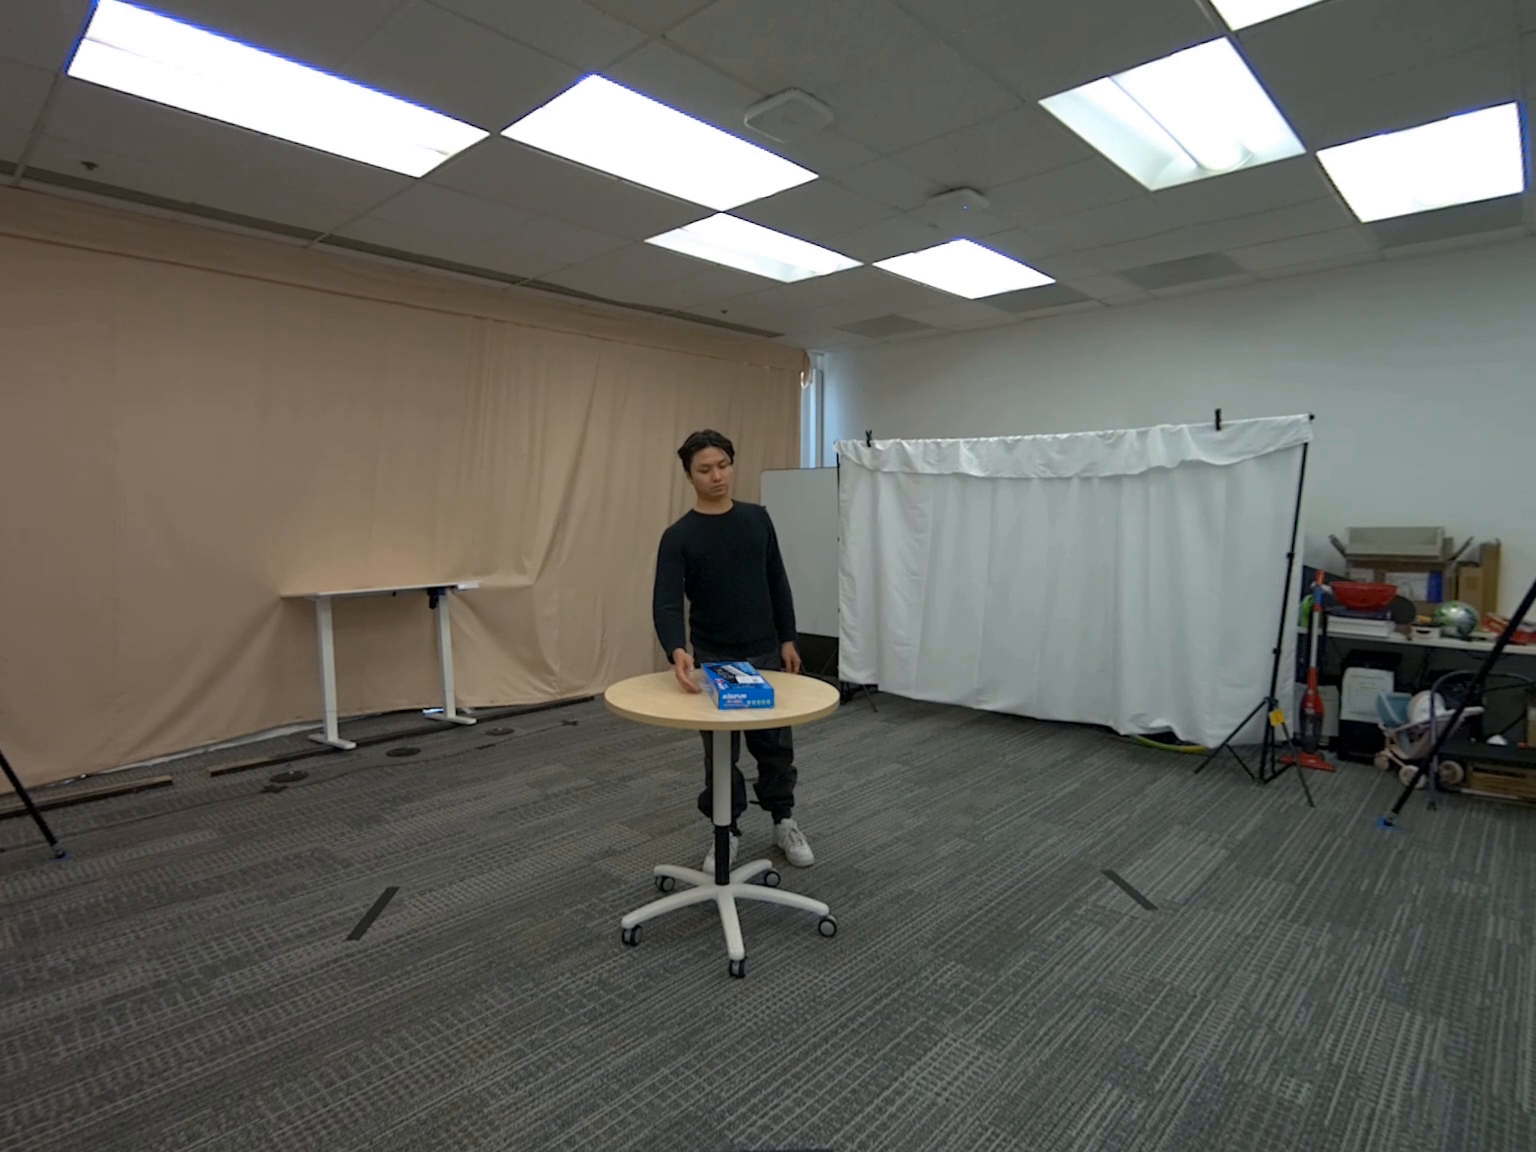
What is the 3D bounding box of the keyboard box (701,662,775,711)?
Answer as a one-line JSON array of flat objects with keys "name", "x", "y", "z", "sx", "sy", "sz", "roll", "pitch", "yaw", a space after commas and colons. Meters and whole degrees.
[{"name": "keyboard box", "x": -0.108, "y": 0.349, "z": 2.743, "sx": 0.174, "sy": 0.059, "sz": 0.443, "roll": 0, "pitch": 5, "yaw": -11}]
